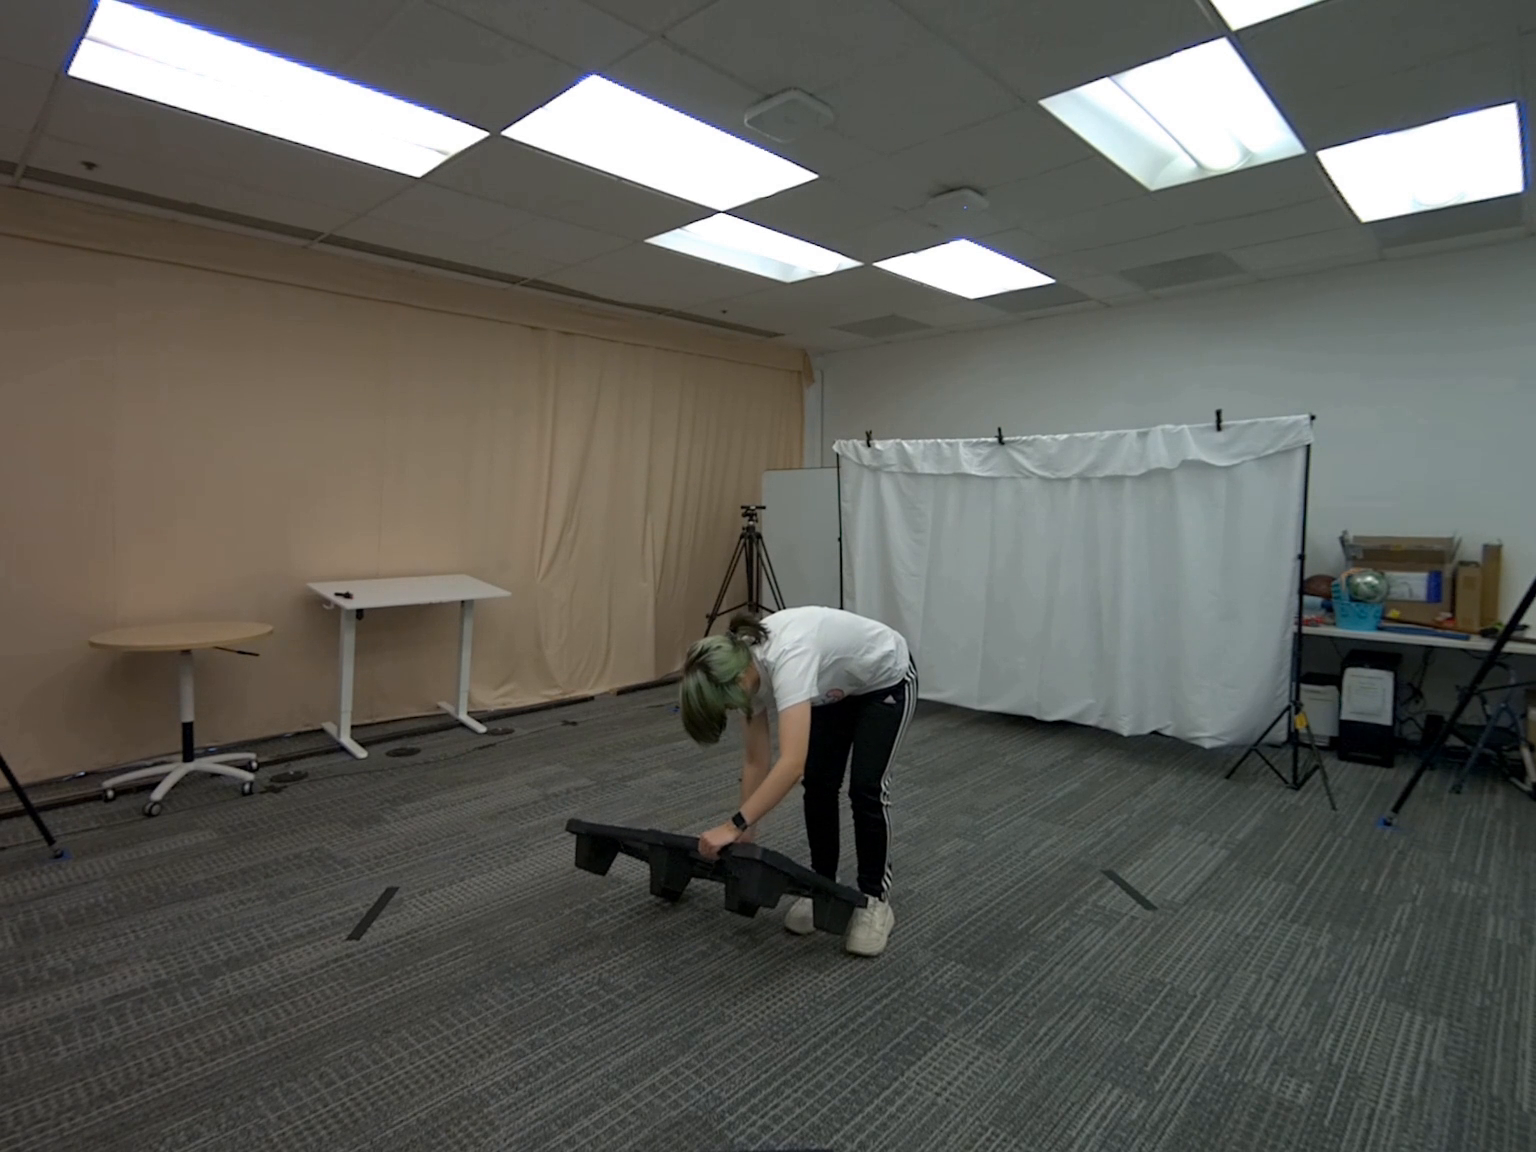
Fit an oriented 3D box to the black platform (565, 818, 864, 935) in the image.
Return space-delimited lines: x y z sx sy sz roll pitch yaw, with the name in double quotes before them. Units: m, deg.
"black platform" -0.188 0.947 2.634 0.829 0.144 0.584 -6 -35 38
